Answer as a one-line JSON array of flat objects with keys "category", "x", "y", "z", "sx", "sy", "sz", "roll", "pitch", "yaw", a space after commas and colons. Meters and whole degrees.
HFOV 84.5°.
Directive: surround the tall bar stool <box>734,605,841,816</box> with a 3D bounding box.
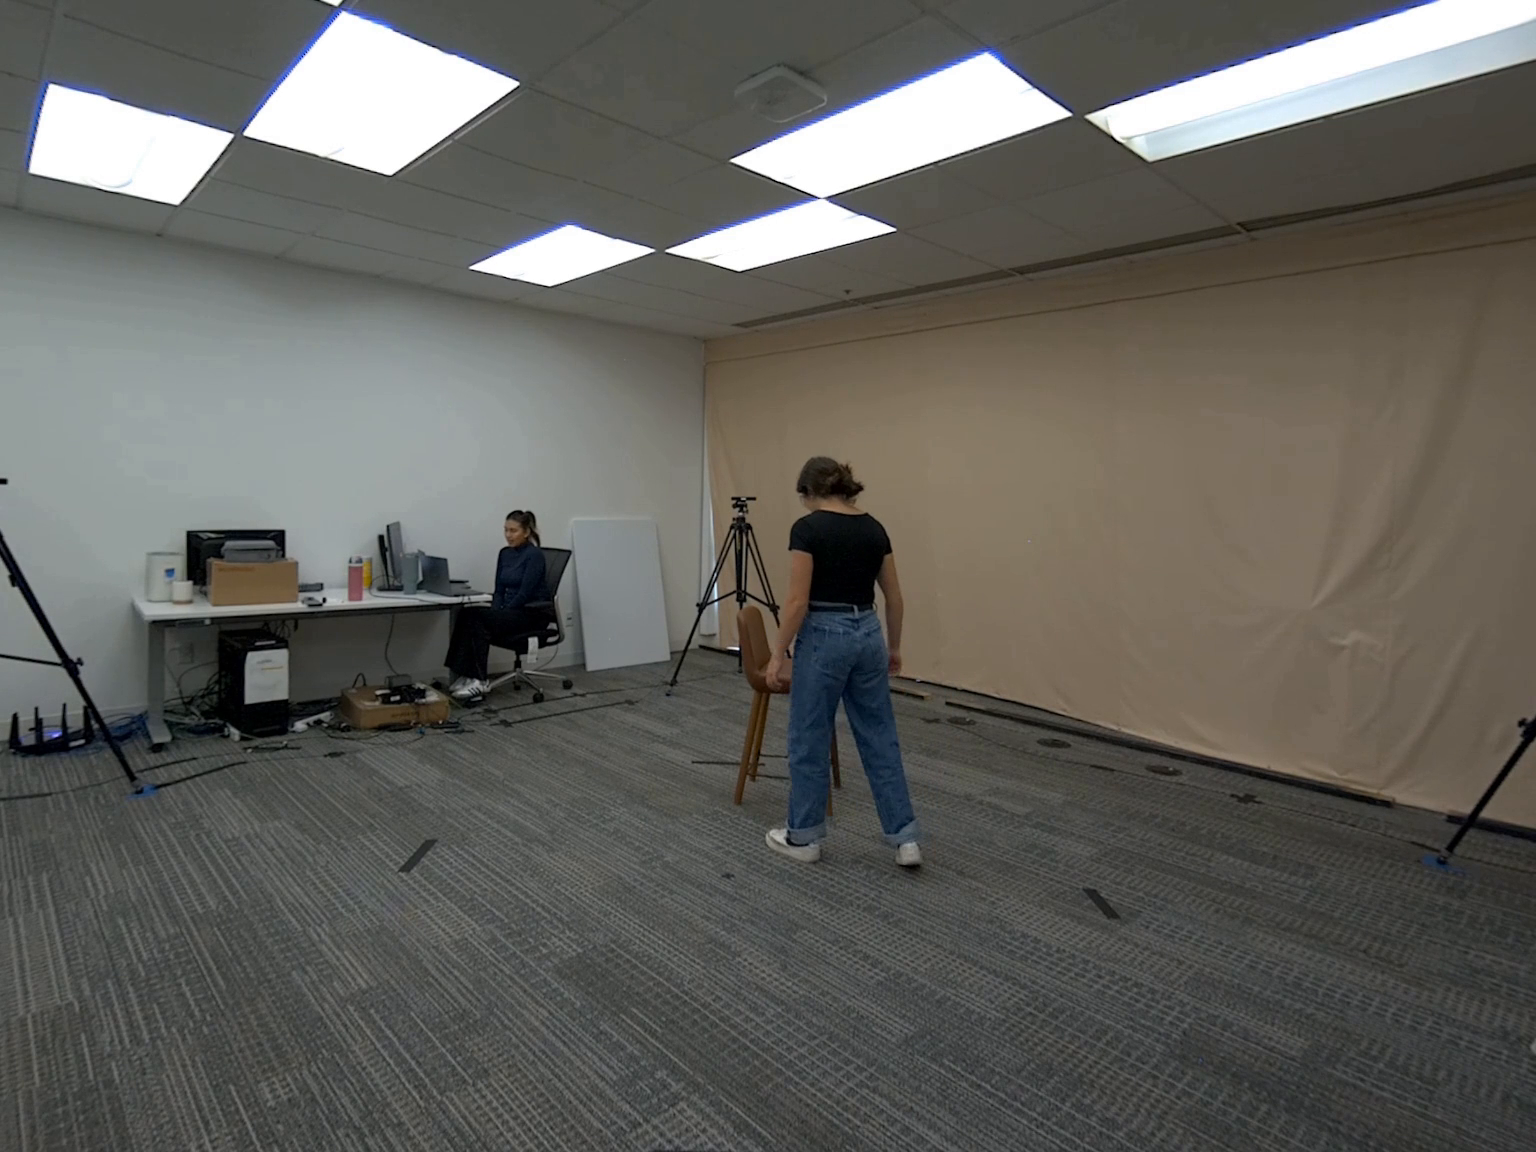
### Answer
[{"category": "tall bar stool", "x": 0.097, "y": 0.603, "z": 3.955, "sx": 0.472, "sy": 0.888, "sz": 0.452, "roll": 1, "pitch": 2, "yaw": 12}]
